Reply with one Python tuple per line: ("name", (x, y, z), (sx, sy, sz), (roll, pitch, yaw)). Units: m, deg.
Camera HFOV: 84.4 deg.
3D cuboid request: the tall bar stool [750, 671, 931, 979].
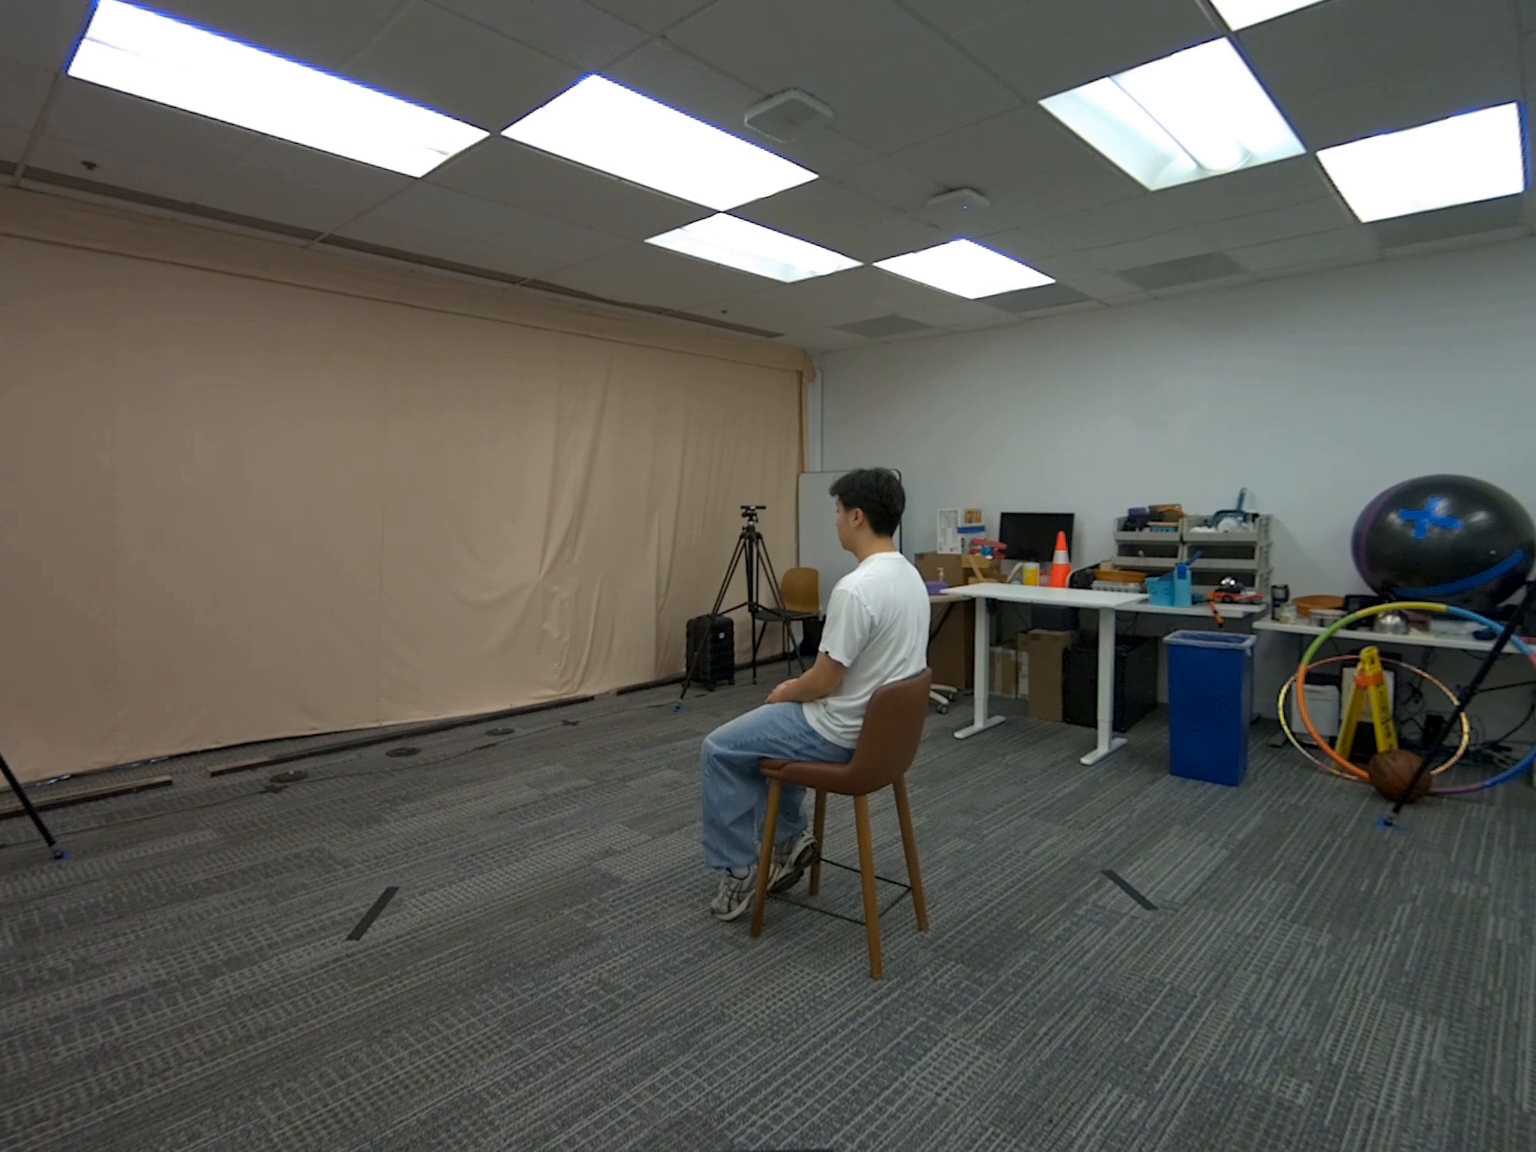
("tall bar stool", (0.254, 0.732, 2.712), (0.482, 0.887, 0.444), (5, 7, 34))
